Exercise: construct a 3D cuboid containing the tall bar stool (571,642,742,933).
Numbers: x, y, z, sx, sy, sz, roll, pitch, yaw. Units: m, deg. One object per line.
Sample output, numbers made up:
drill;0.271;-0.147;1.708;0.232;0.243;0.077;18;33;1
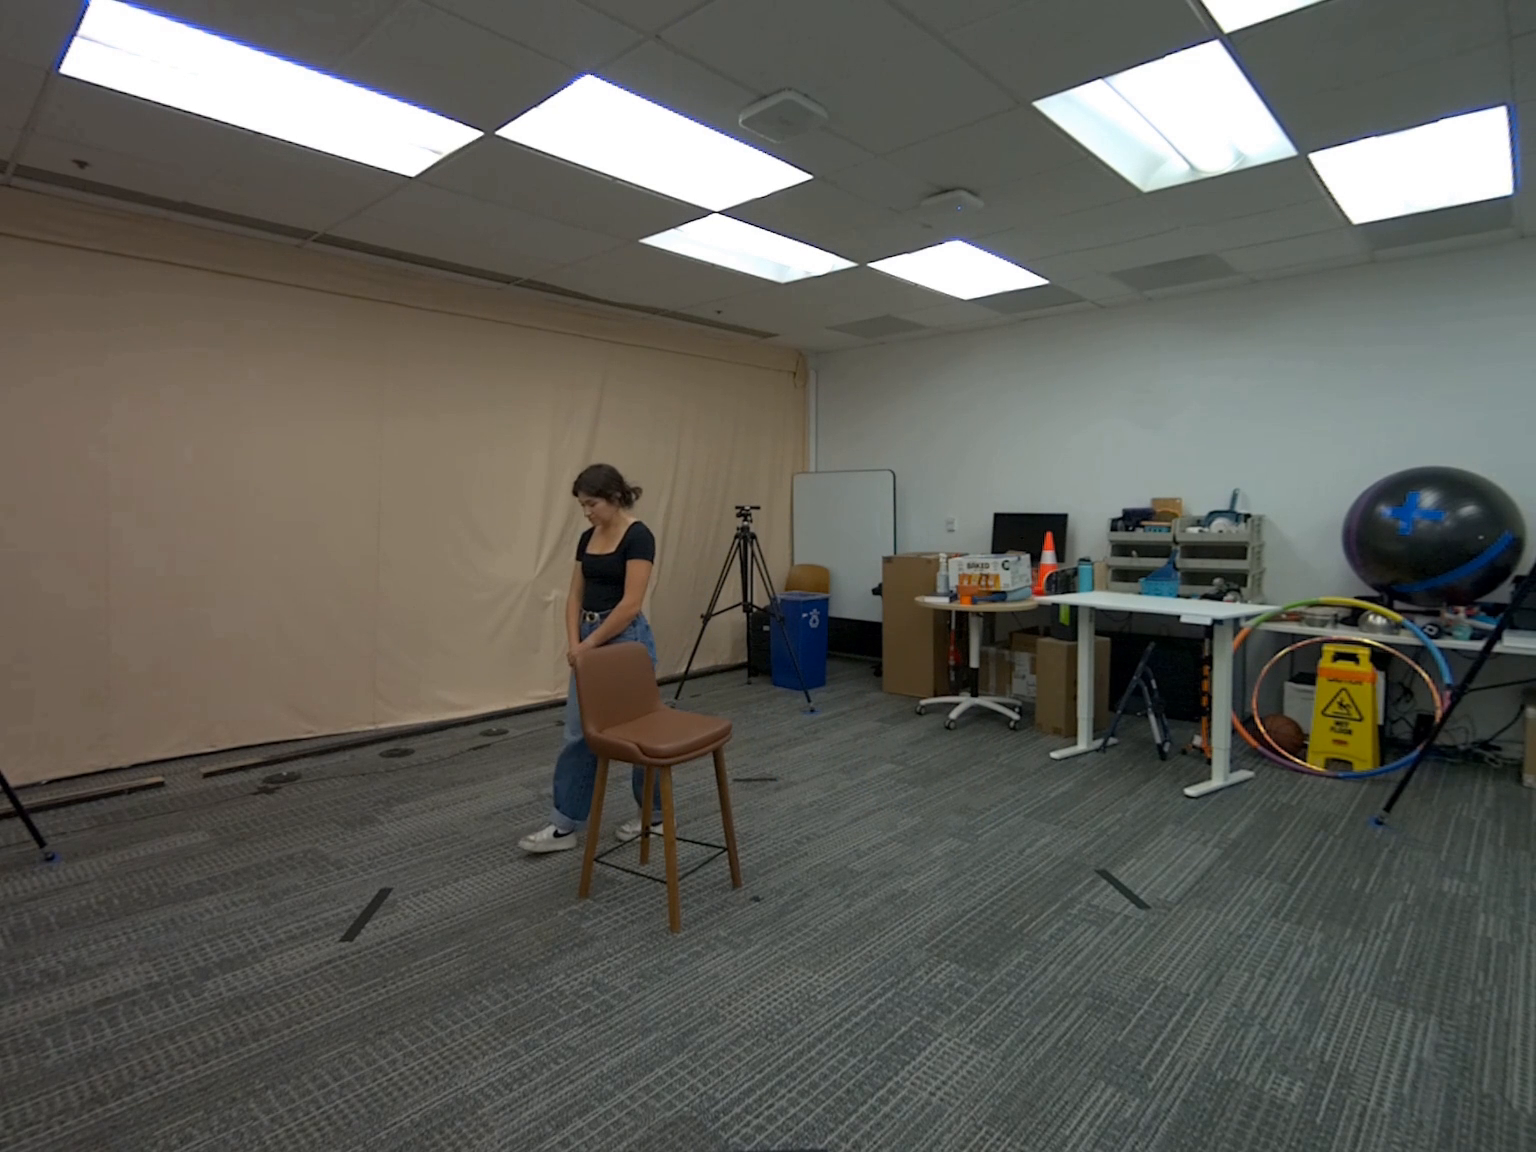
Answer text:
tall bar stool;-0.397;0.708;3.019;0.481;0.889;0.444;-1;2;33
